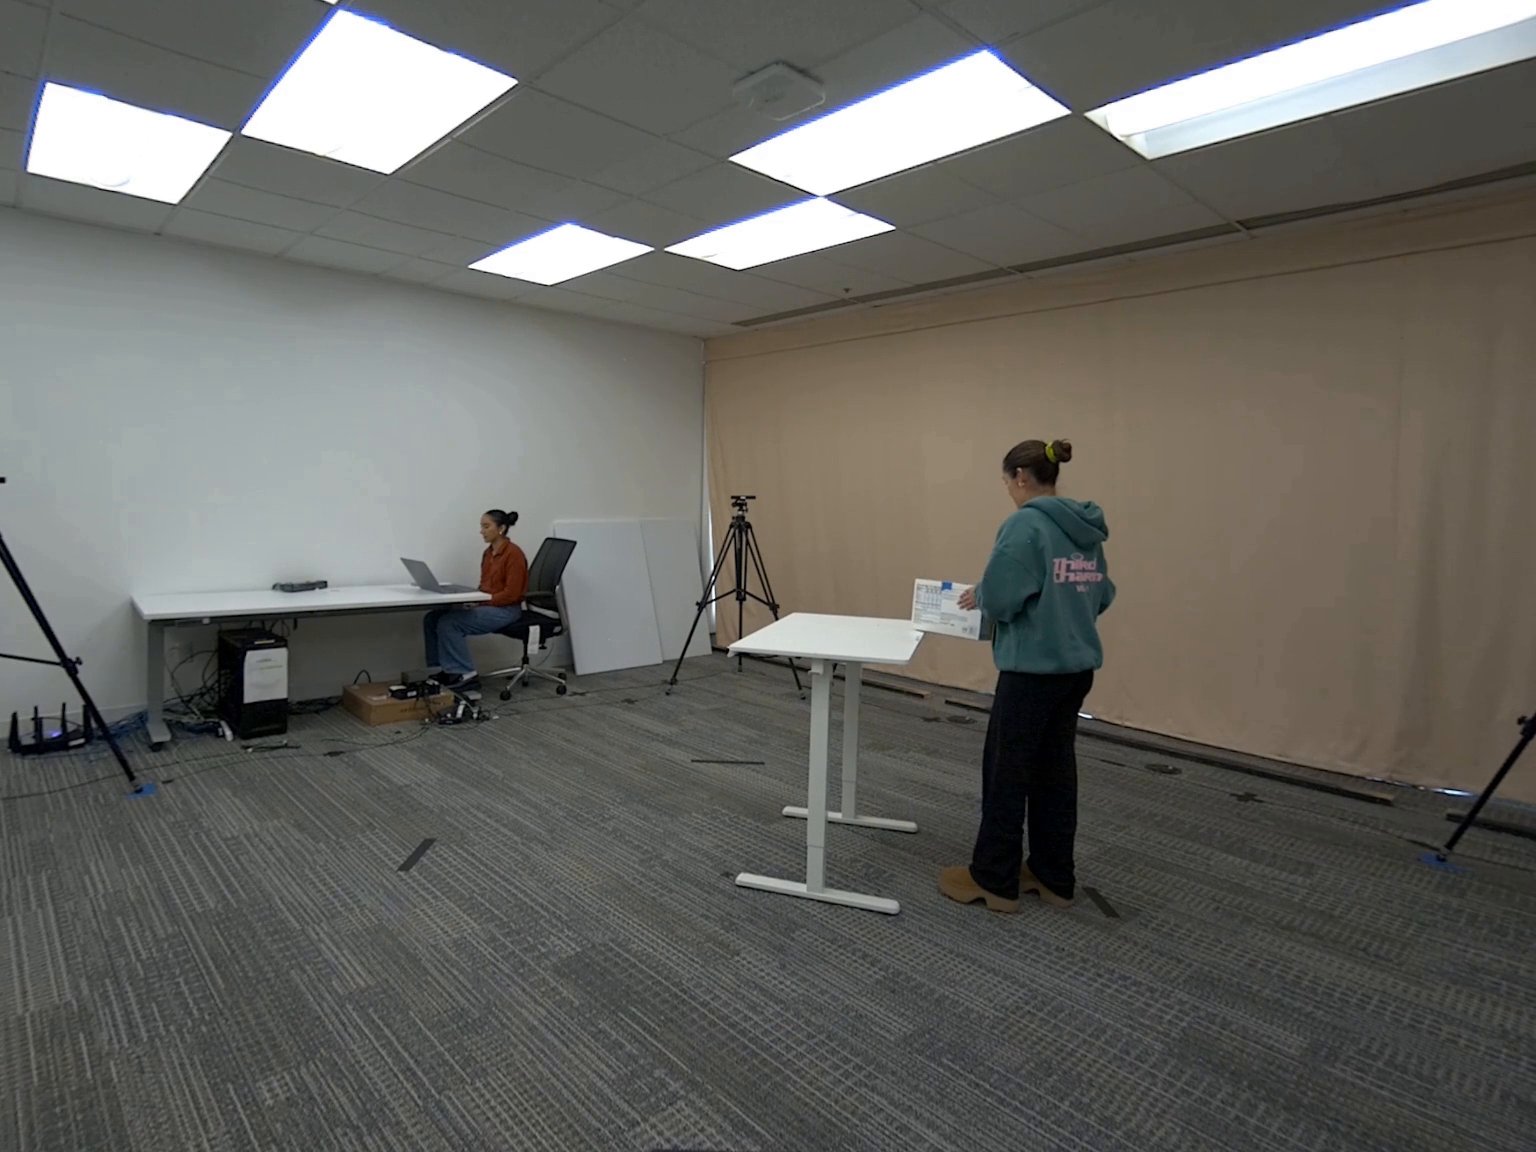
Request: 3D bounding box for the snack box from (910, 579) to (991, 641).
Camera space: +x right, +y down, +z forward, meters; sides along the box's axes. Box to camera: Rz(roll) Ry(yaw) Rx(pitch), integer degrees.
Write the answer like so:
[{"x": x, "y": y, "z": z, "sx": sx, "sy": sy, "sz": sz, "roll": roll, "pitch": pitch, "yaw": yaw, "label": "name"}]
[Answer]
[{"x": 0.830, "y": 0.134, "z": 3.345, "sx": 0.395, "sy": 0.205, "sz": 0.349, "roll": 4, "pitch": 2, "yaw": -37, "label": "snack box"}]
